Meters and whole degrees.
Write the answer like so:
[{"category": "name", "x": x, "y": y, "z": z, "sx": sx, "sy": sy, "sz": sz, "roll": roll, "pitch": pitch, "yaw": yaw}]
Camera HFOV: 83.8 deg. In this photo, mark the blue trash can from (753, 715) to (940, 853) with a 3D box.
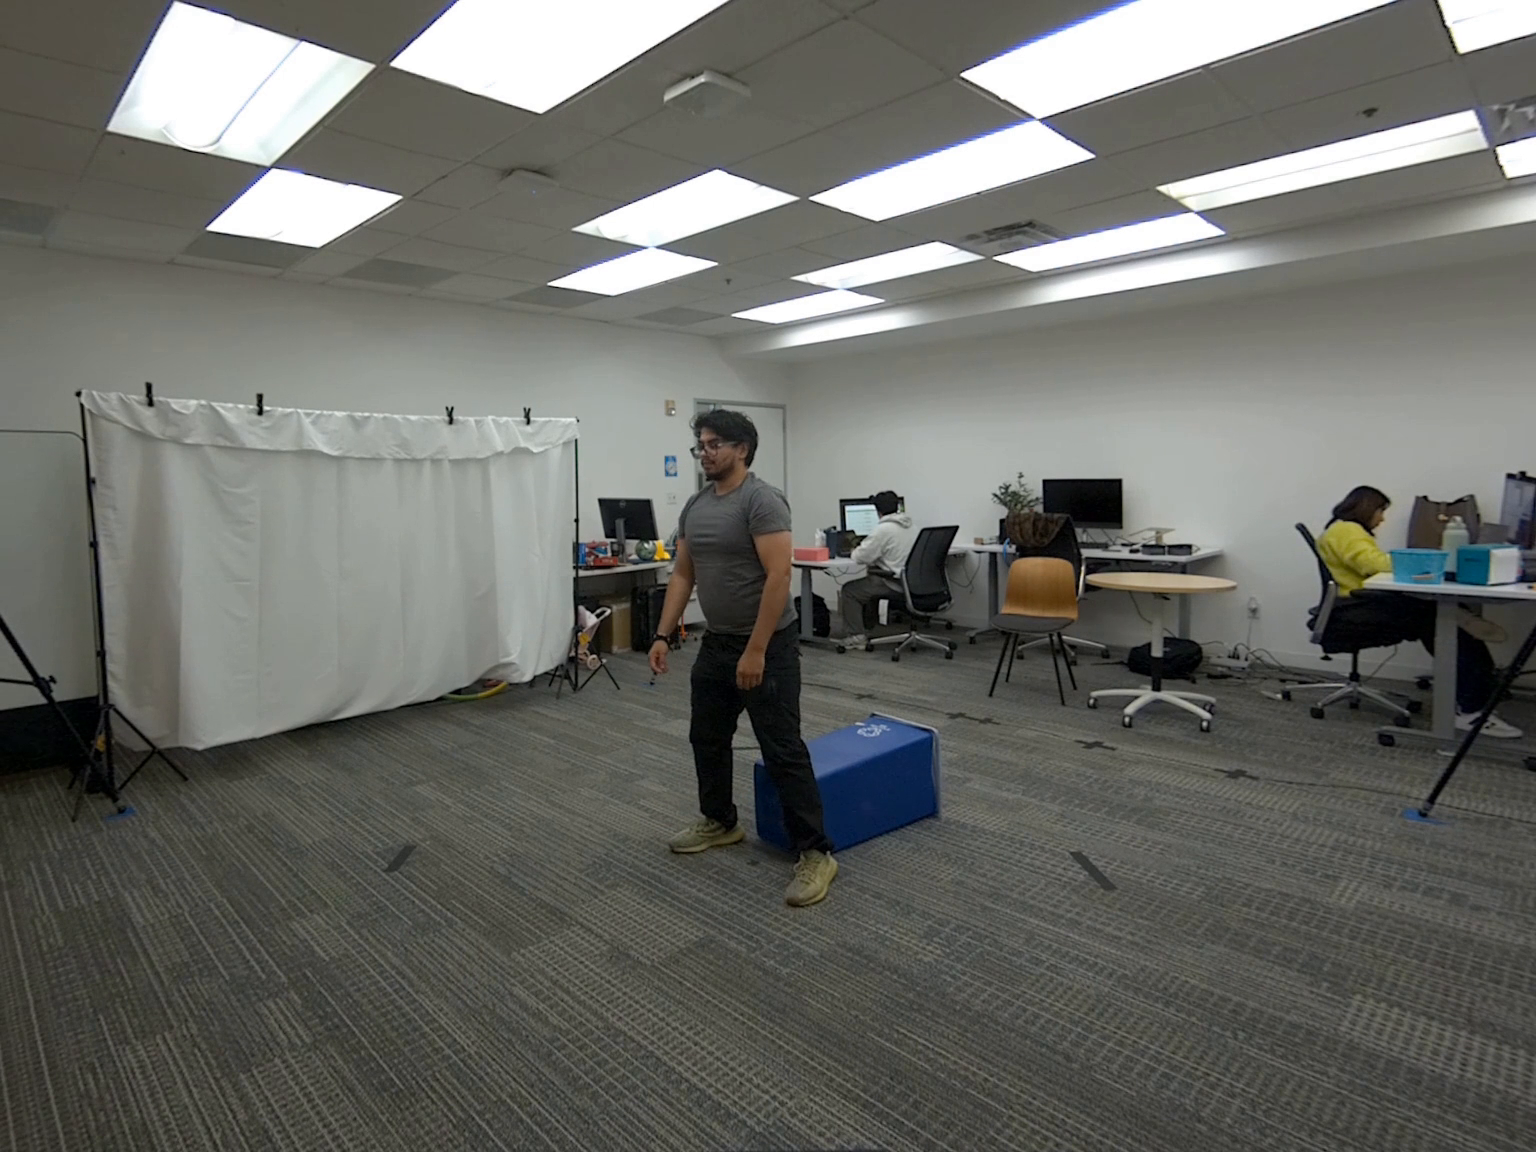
[{"category": "blue trash can", "x": 0.321, "y": 0.827, "z": 3.408, "sx": 0.696, "sy": 0.372, "sz": 0.390, "roll": -8, "pitch": 9, "yaw": -39}]
